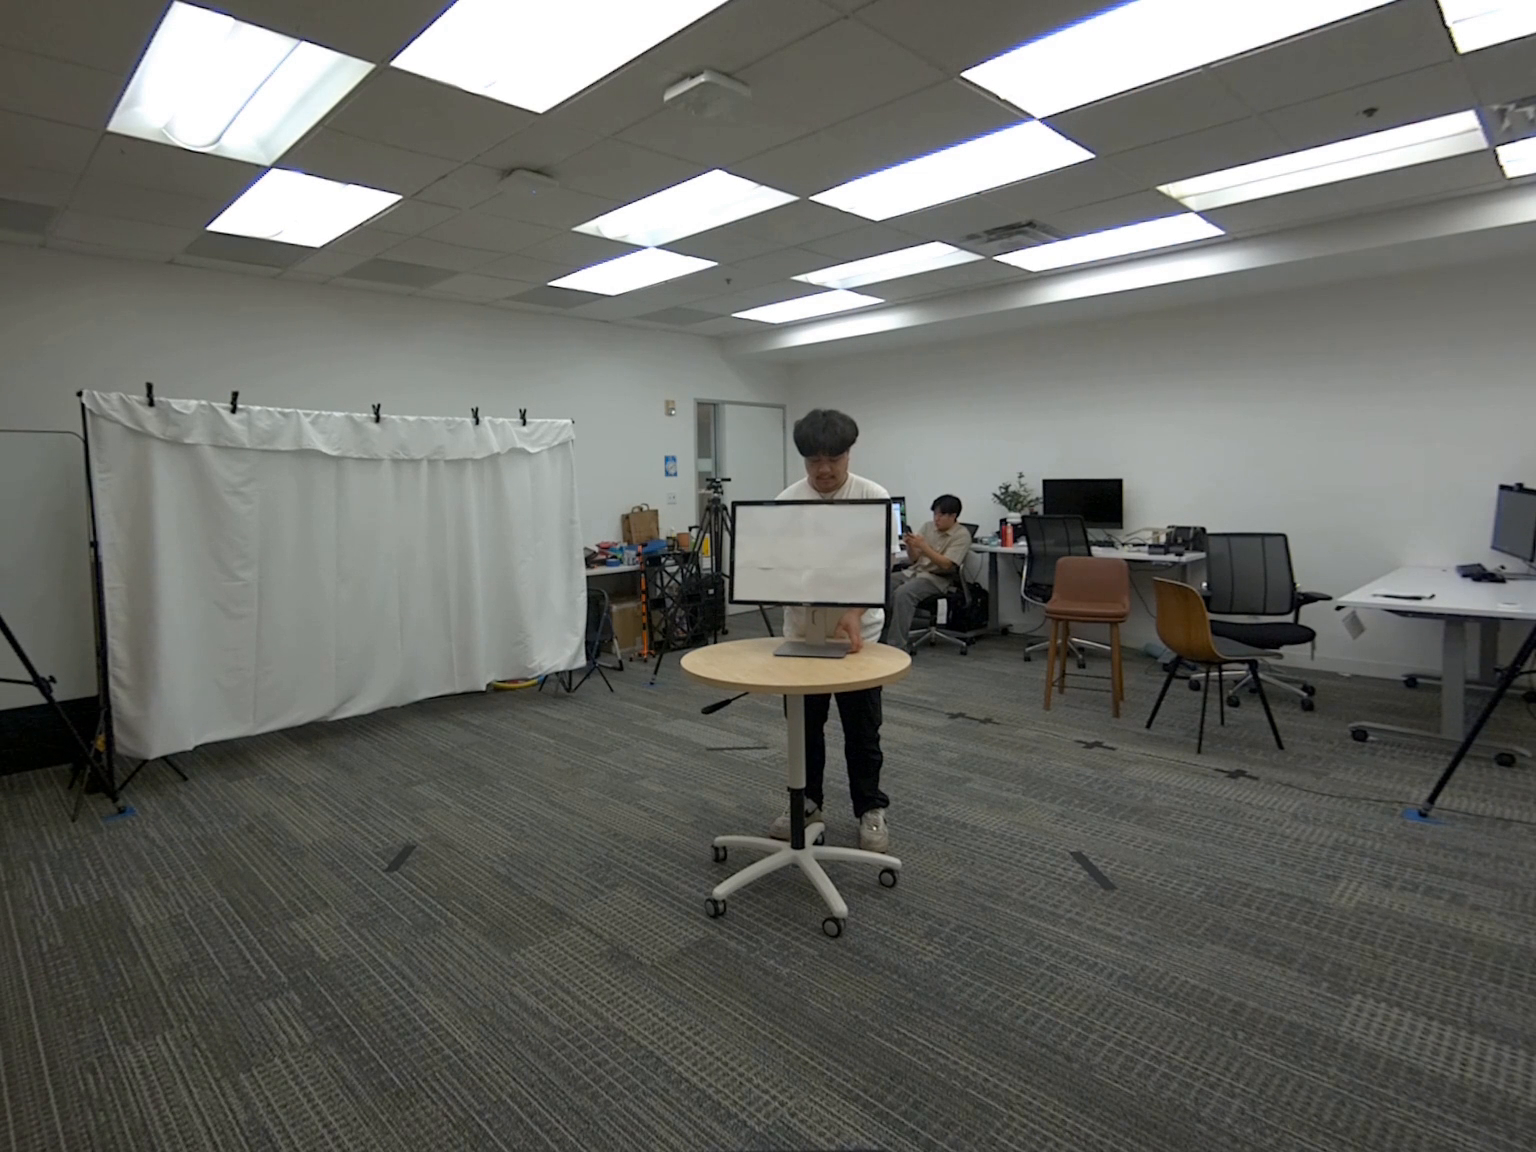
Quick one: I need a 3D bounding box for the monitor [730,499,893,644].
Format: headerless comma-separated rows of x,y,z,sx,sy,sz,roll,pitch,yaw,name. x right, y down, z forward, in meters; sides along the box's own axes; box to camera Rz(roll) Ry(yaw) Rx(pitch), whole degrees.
0.157,0.005,2.969,0.575,0.554,0.206,0,0,19,monitor
